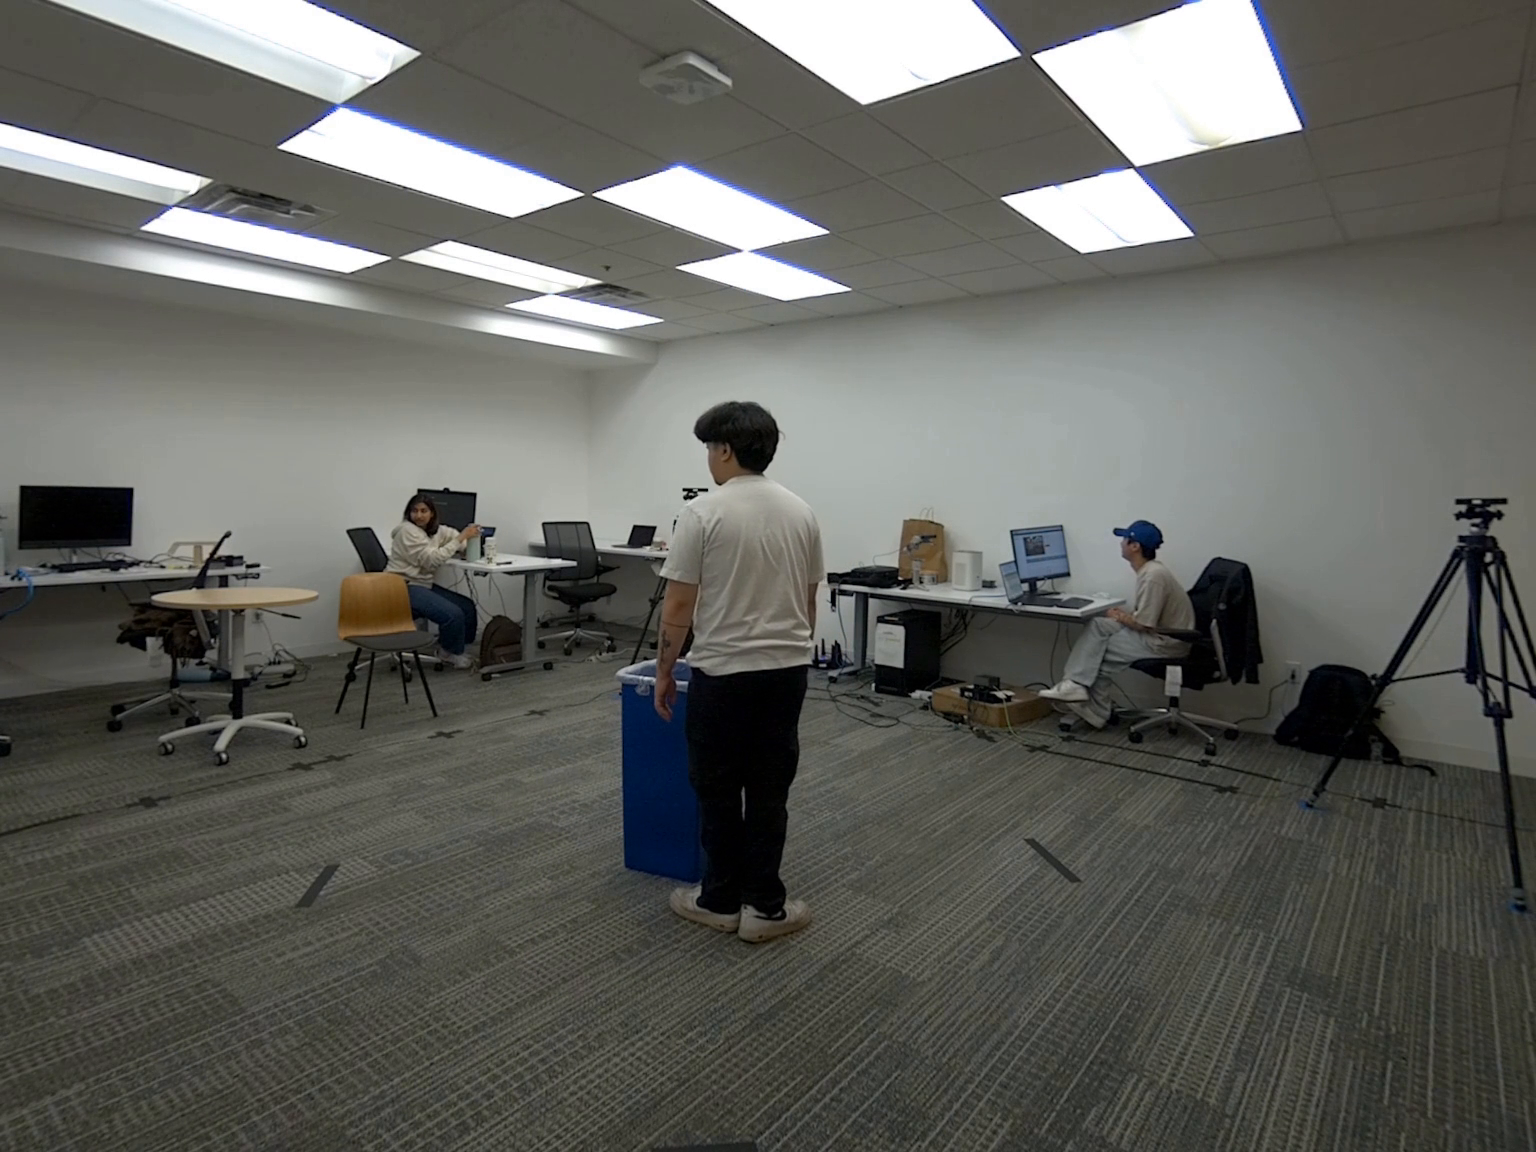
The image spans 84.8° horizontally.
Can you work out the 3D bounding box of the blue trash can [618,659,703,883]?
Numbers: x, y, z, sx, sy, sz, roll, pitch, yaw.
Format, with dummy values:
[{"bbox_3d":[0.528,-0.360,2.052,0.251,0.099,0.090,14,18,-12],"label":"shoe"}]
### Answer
[{"bbox_3d":[-0.341,0.702,3.180,0.387,0.712,0.366,2,3,23],"label":"blue trash can"}]
